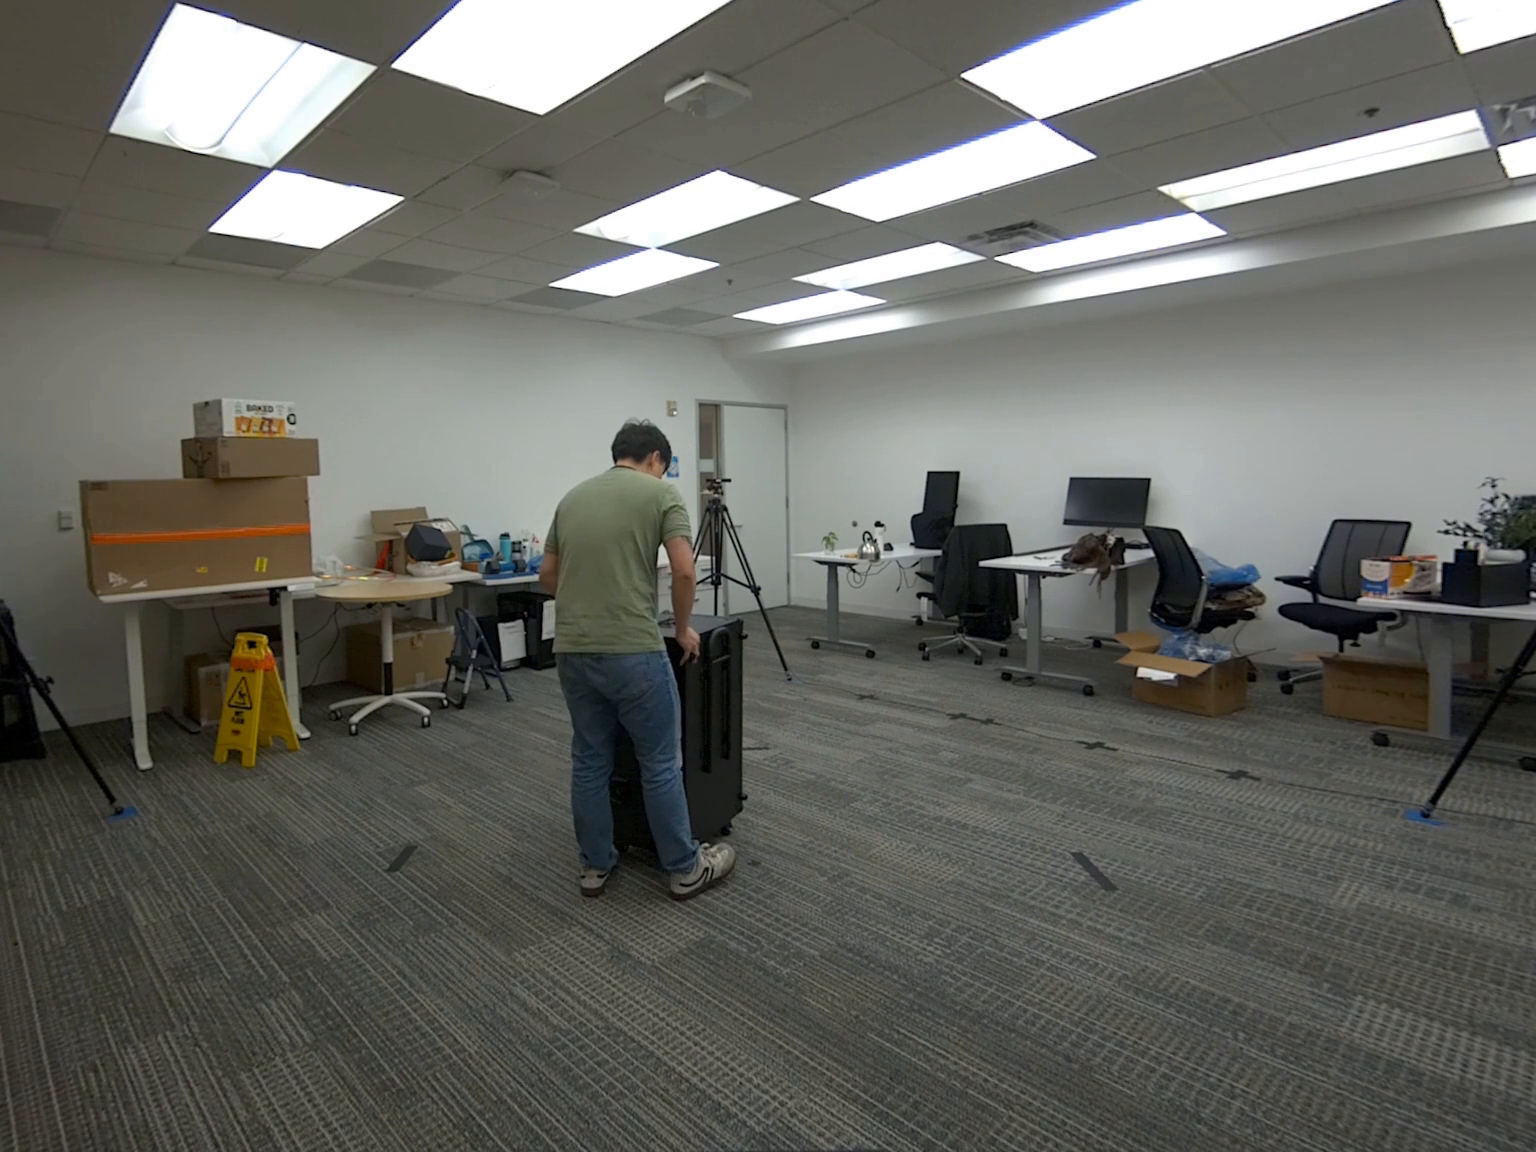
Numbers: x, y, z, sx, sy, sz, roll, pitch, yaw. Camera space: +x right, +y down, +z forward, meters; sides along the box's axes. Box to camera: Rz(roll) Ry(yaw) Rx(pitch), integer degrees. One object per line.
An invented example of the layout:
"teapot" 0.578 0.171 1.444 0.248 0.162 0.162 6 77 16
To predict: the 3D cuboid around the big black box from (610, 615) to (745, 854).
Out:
"big black box" -0.335 0.604 3.272 0.406 0.858 0.511 4 5 25
